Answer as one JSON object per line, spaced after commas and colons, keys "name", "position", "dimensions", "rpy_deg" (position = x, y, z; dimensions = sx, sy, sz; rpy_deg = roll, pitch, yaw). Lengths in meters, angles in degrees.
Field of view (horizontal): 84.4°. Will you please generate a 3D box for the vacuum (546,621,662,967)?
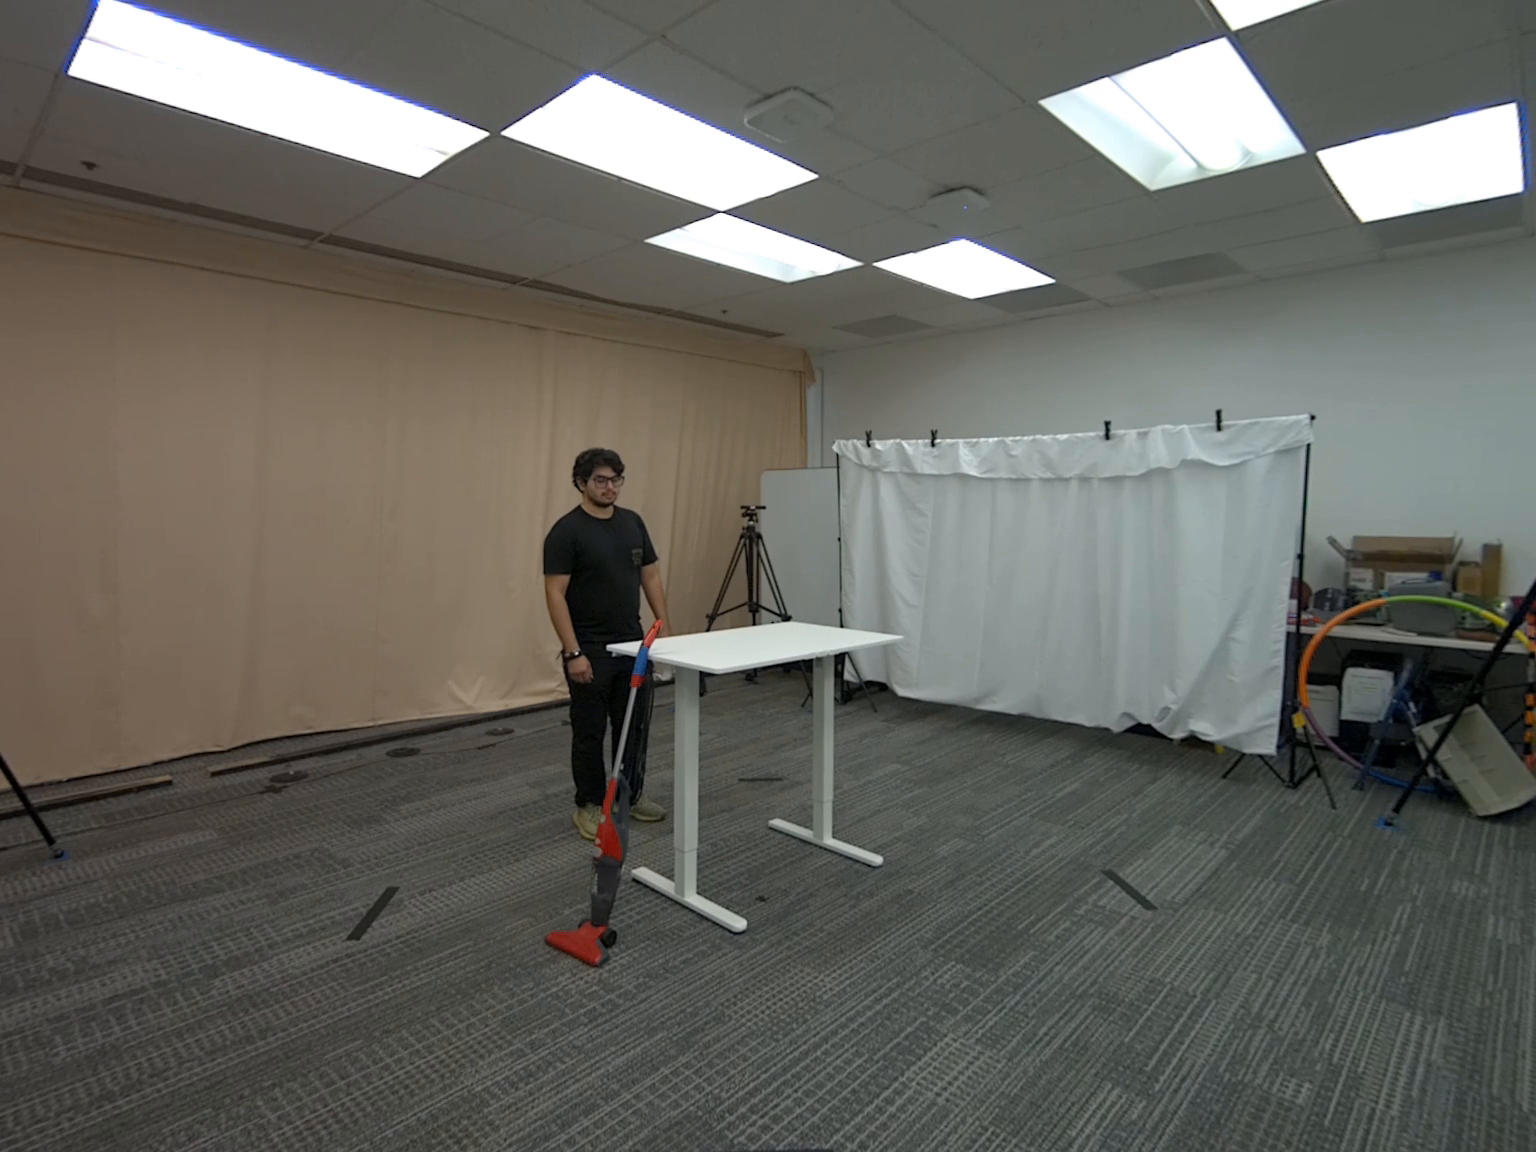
{"name": "vacuum", "position": [-0.478, 0.668, 2.783], "dimensions": [0.260, 1.055, 0.139], "rpy_deg": [2, -16, 33]}
